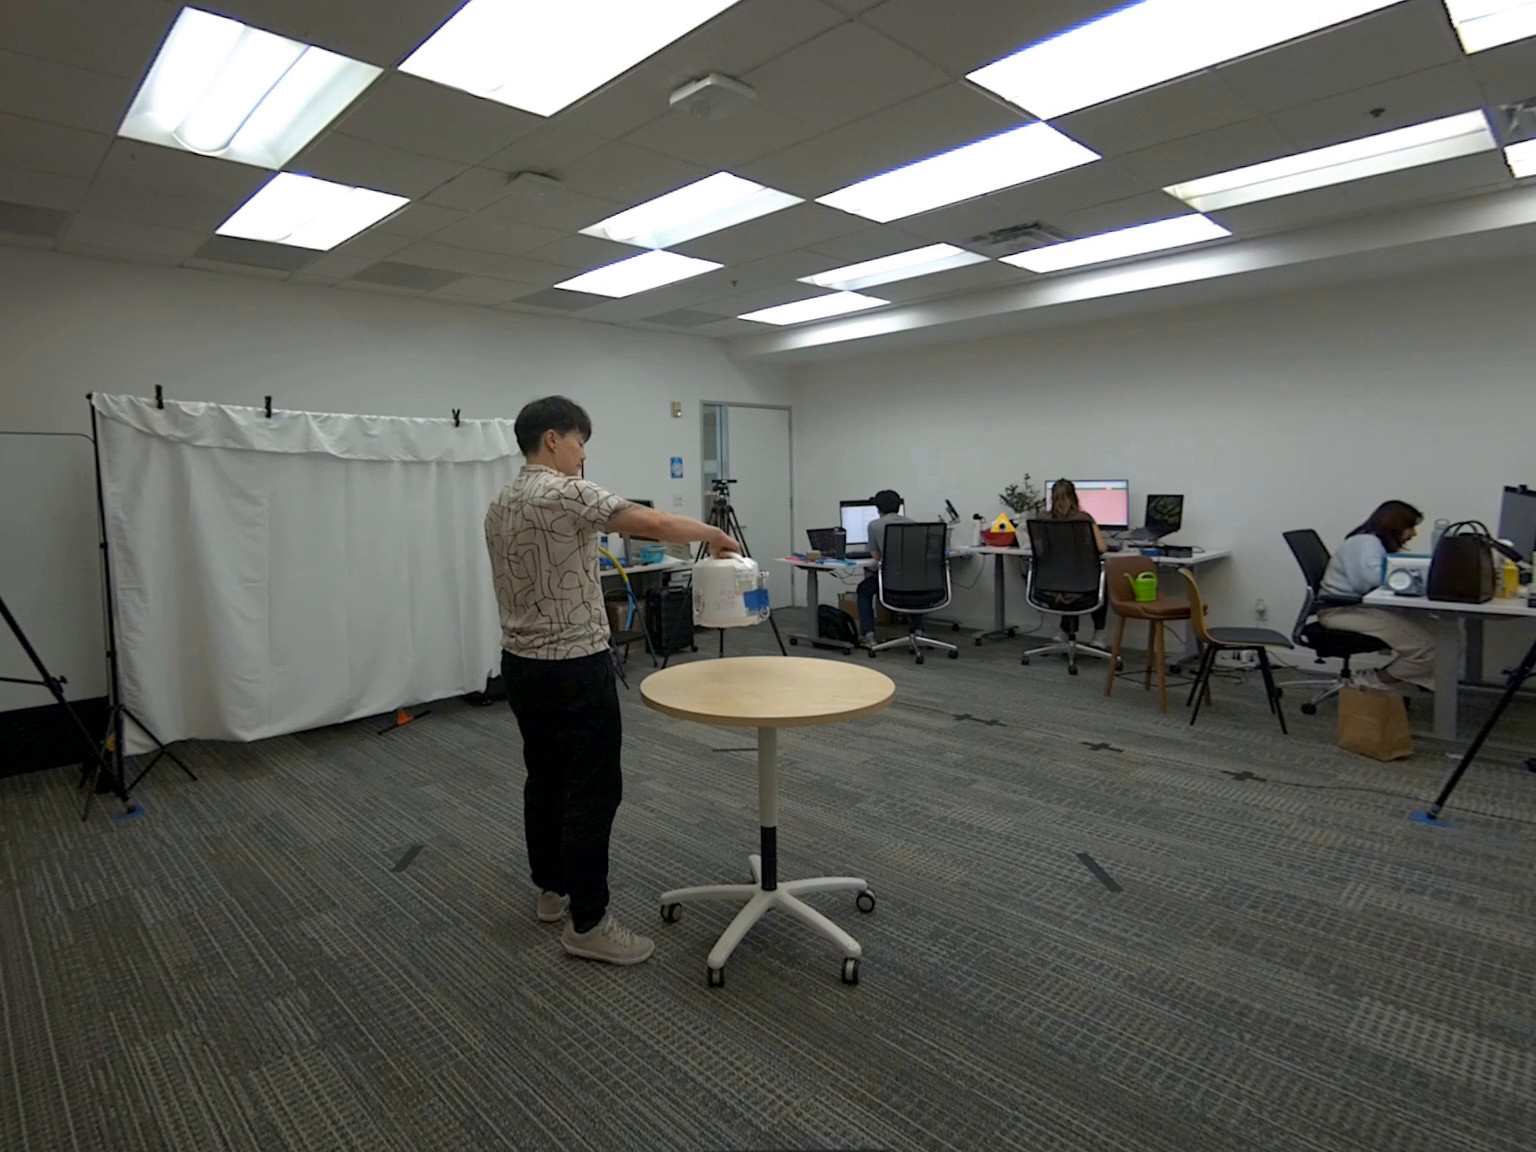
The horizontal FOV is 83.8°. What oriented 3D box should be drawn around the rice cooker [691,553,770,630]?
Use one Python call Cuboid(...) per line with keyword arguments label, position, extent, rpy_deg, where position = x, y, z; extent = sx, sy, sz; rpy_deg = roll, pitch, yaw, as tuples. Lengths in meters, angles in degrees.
Cuboid(label="rice cooker", position=(-0.129, 0.039, 2.674), extent=(0.212, 0.233, 0.226), rpy_deg=(-2, 0, -34))
